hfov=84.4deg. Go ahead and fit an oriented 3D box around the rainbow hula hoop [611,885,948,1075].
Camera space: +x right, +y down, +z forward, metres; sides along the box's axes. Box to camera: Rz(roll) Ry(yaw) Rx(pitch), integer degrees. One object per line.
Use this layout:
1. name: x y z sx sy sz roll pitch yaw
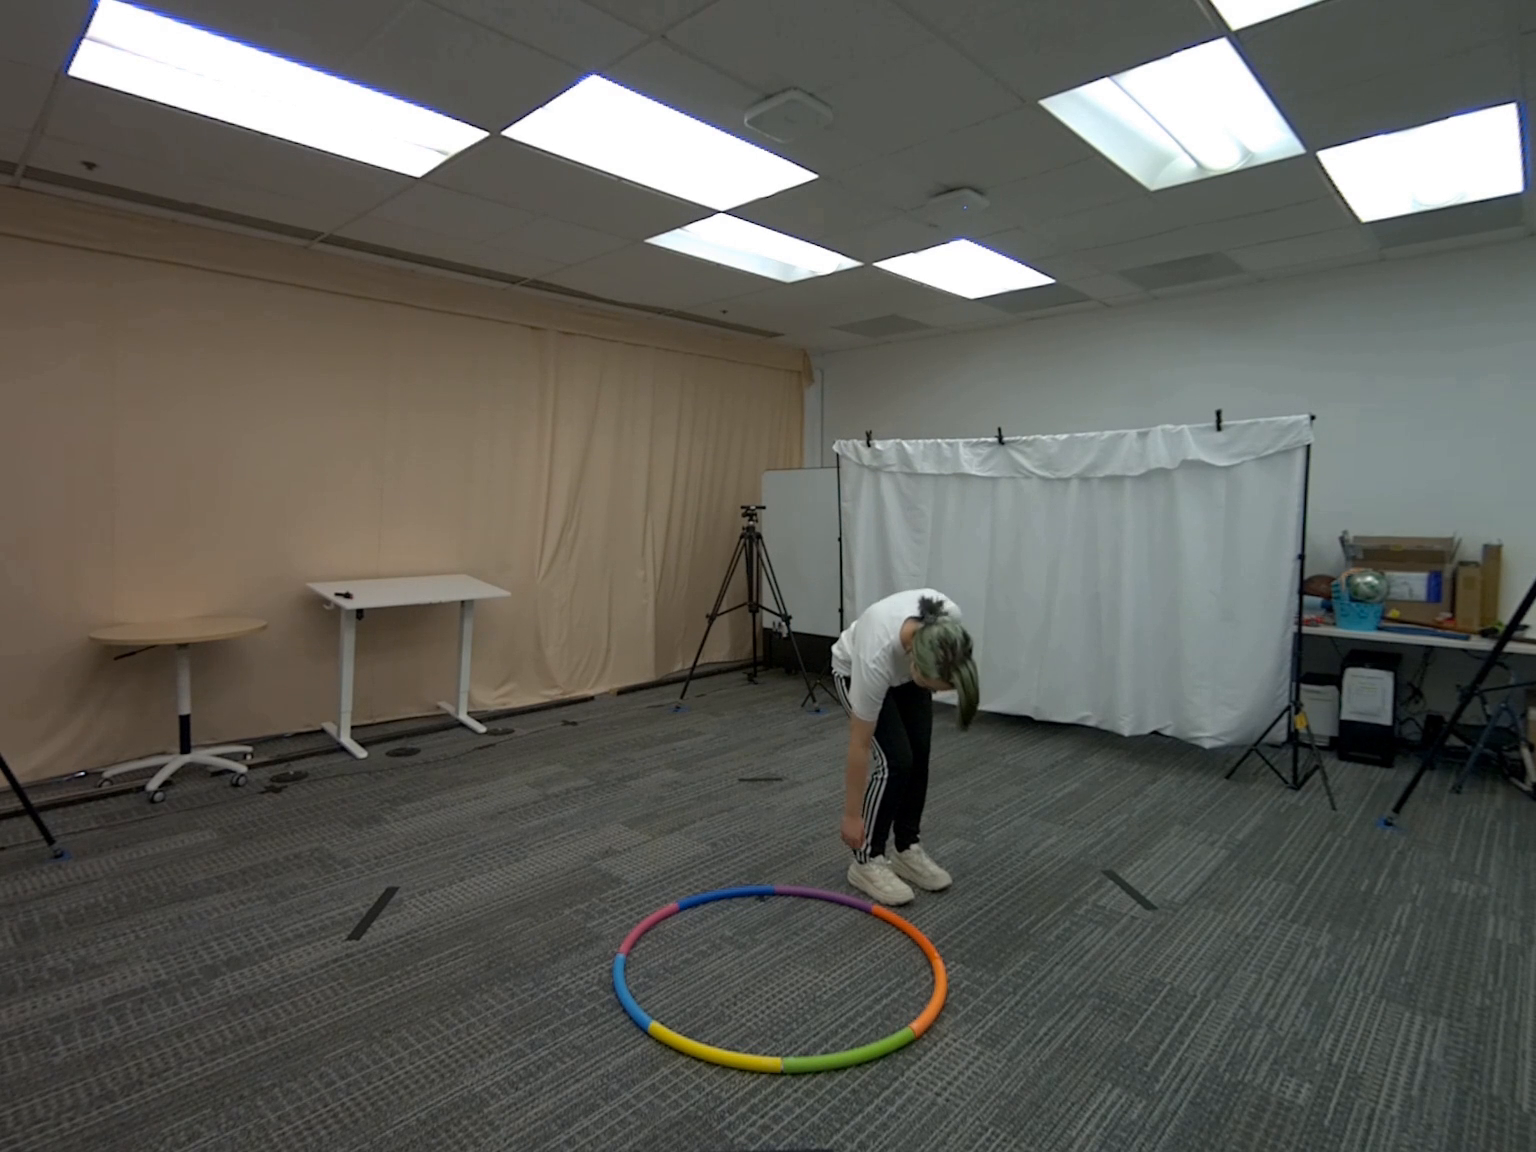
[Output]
1. rainbow hula hoop: 0.030 1.151 2.548 0.978 0.035 0.982 0 5 -2
